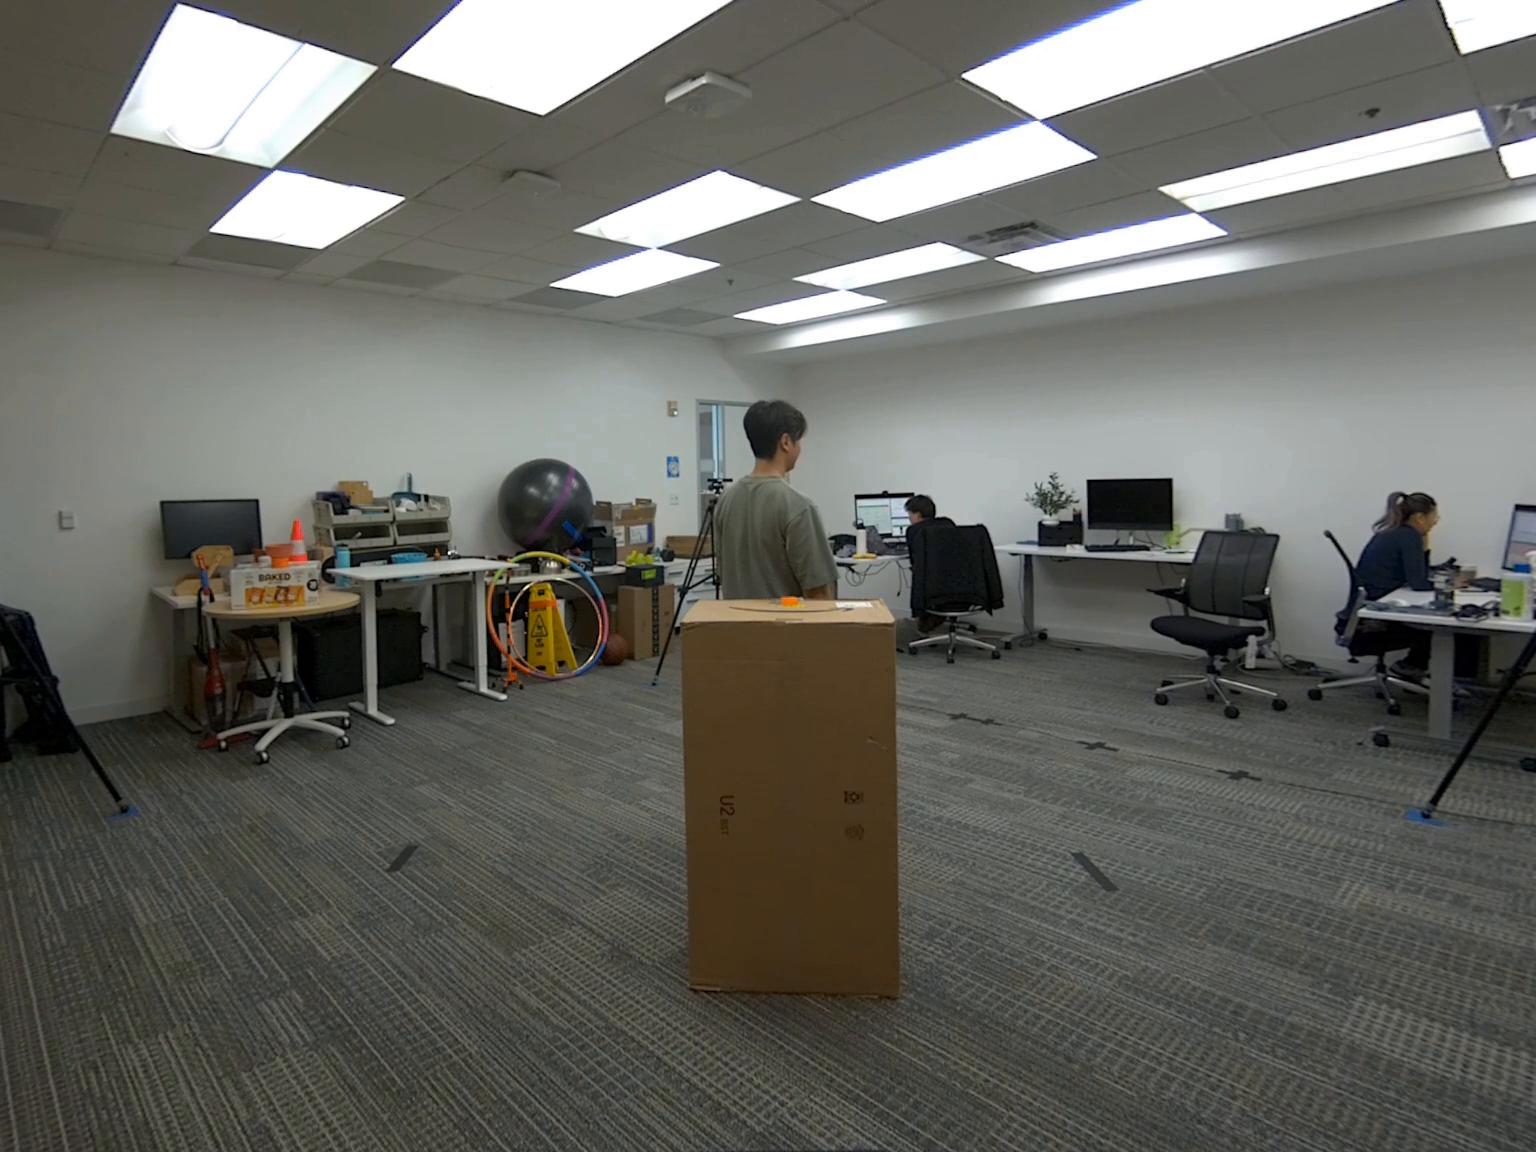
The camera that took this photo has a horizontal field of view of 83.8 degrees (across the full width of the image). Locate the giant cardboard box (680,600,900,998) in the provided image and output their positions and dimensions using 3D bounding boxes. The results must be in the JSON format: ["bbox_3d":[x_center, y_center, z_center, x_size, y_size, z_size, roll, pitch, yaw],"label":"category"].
[{"bbox_3d":[0.076,0.601,2.493,0.580,1.022,0.426,-1,4,4],"label":"giant cardboard box"}]
